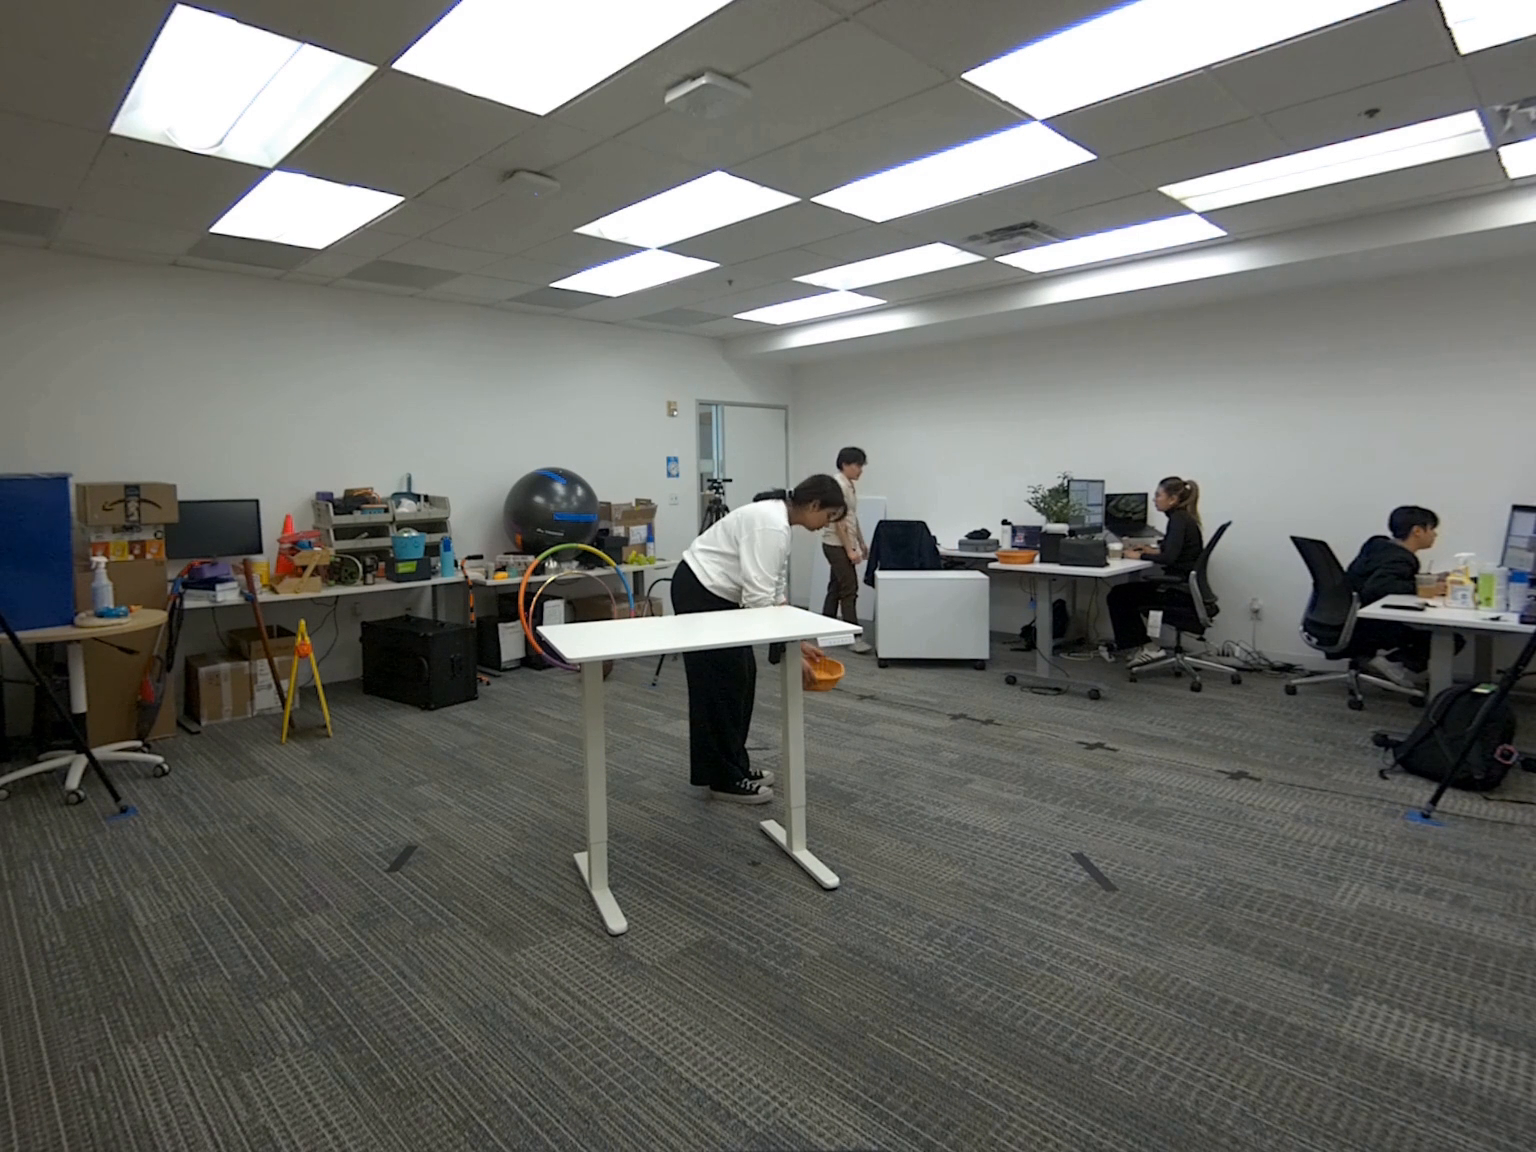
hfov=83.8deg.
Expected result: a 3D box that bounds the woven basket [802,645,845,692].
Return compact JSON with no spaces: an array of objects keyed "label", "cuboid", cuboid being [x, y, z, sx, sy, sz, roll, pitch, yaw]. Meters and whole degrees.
[{"label":"woven basket","cuboid":[0.193,0.422,3.721,0.253,0.073,0.351,3,9,3]}]
